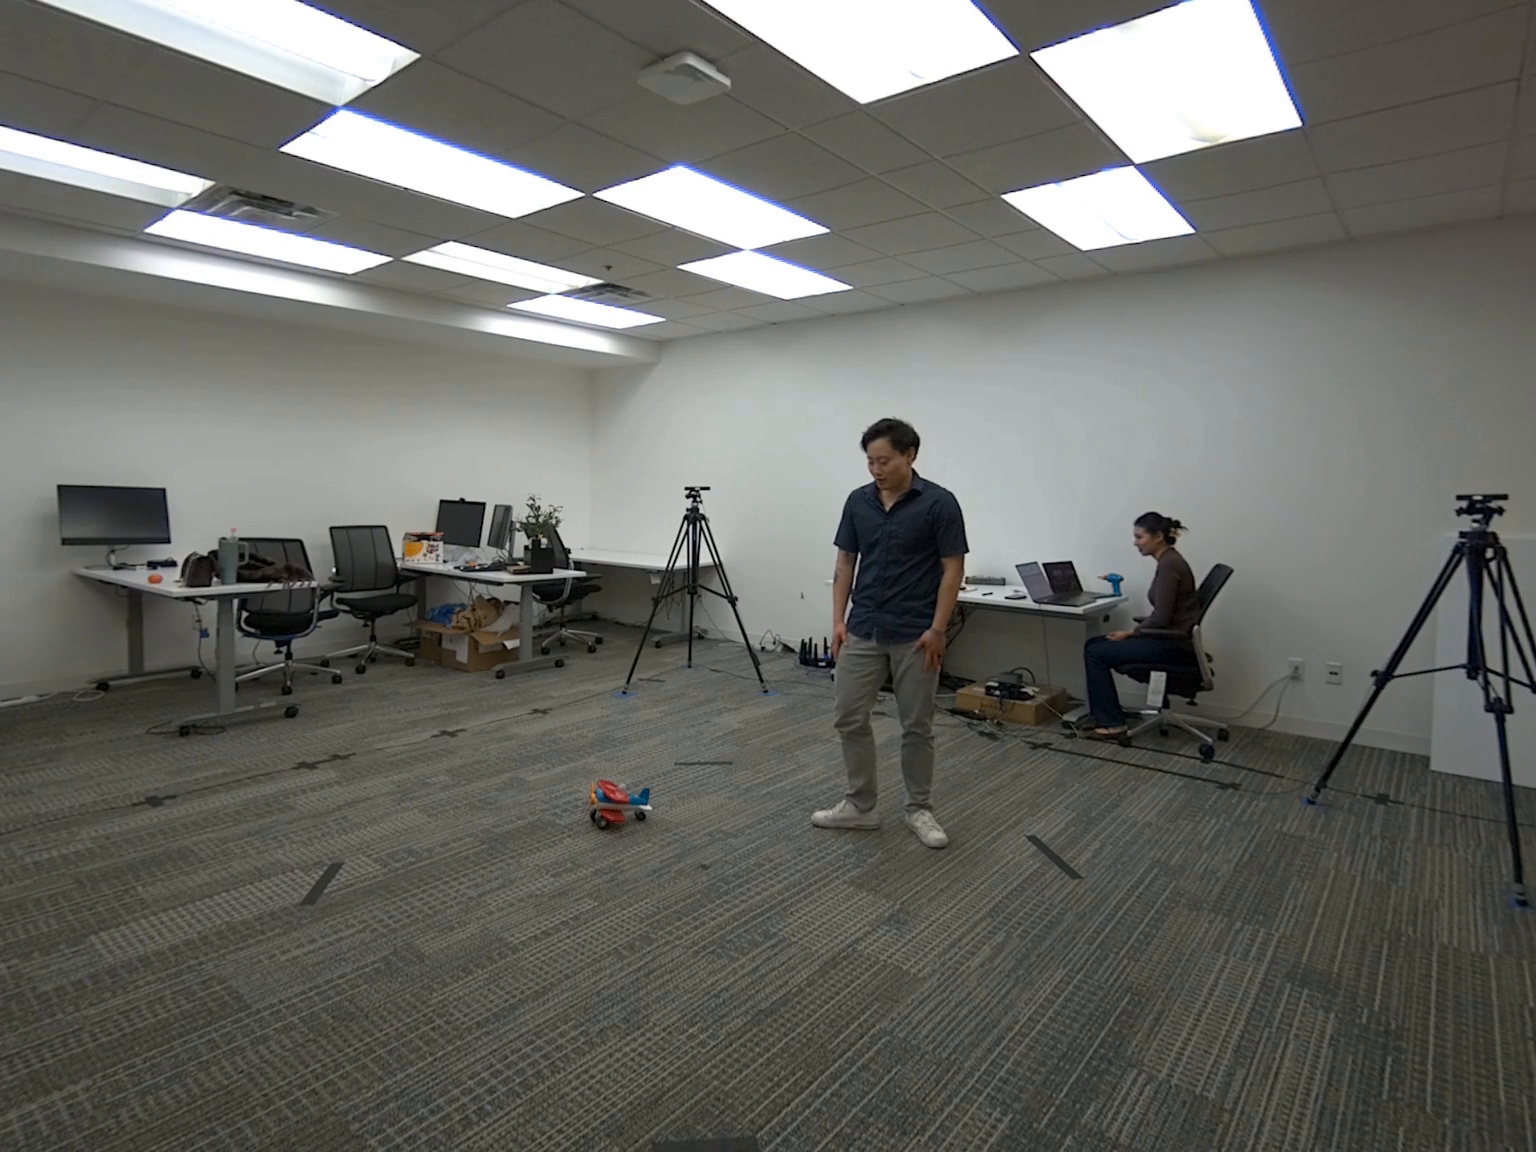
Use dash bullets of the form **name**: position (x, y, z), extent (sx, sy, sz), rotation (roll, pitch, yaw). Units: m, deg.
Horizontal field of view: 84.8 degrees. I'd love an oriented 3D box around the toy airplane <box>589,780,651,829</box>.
- **toy airplane**: position (-0.636, 0.942, 3.544), extent (0.259, 0.155, 0.252), rotation (4, 8, 36)
